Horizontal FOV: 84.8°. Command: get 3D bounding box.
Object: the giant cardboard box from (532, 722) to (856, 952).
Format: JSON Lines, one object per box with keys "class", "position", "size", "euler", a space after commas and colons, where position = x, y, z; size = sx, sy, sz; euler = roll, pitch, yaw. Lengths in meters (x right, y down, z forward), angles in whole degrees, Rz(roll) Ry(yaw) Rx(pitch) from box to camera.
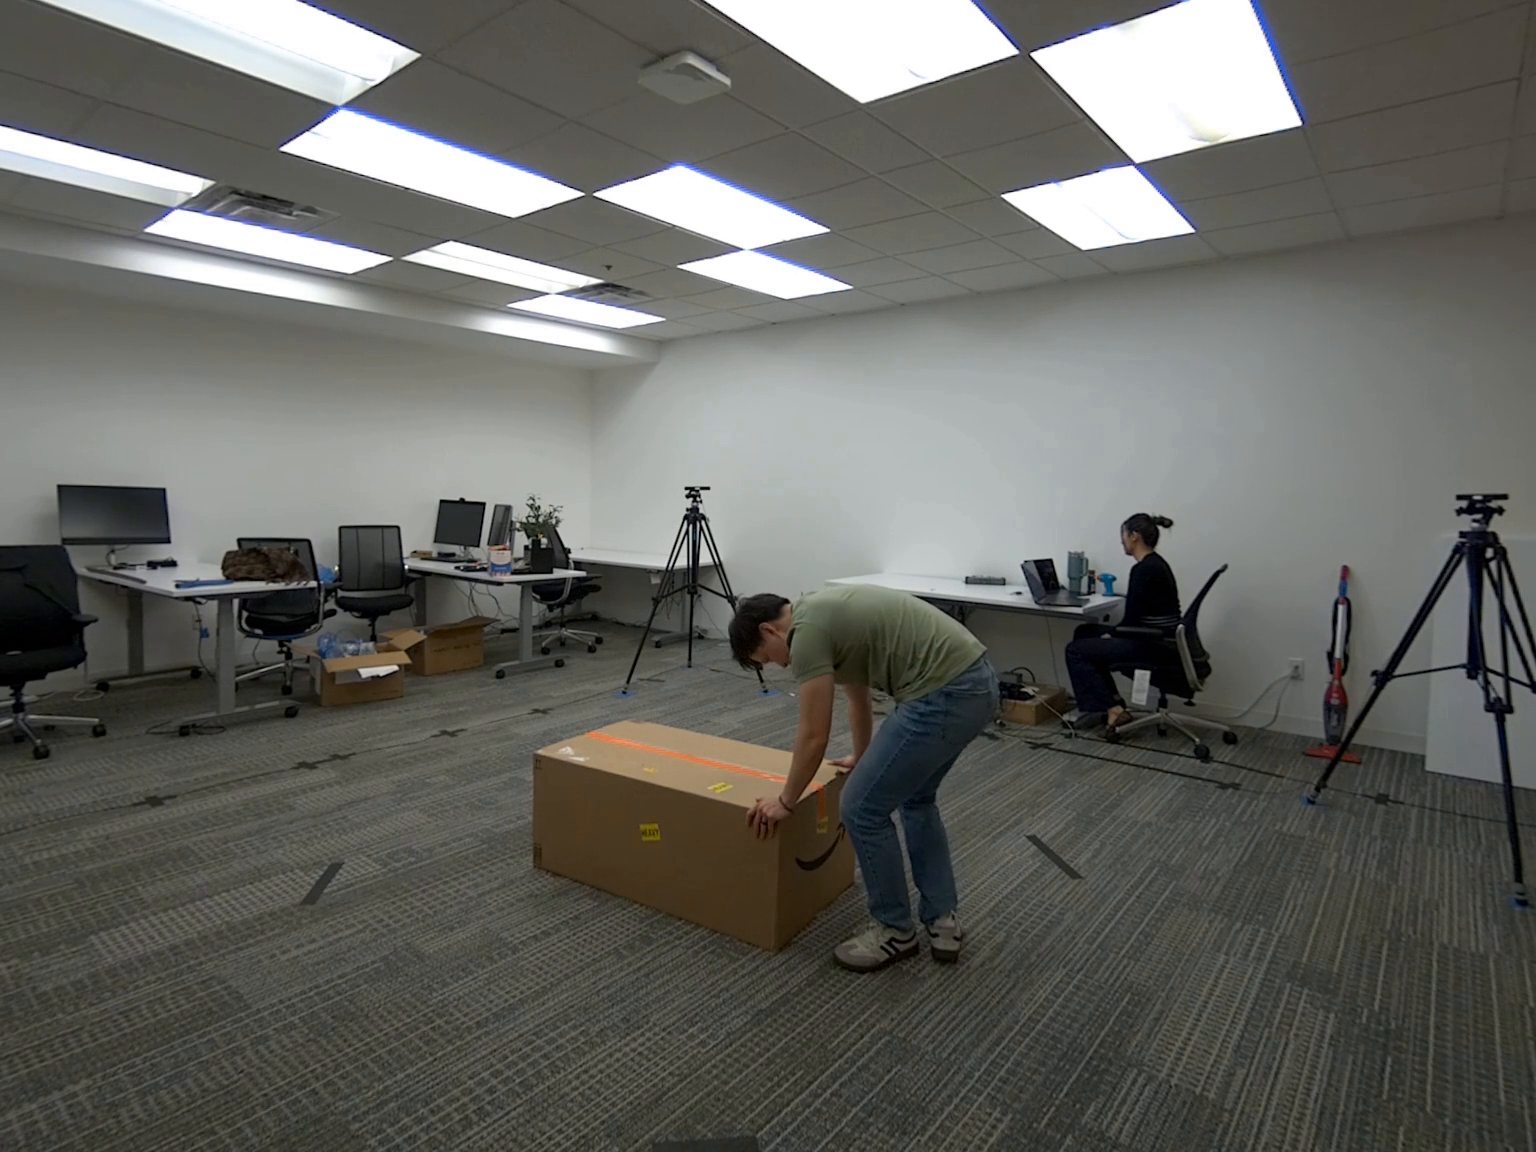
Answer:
{"class": "giant cardboard box", "position": [-0.284, 0.858, 3.051], "size": [1.057, 0.424, 0.563], "euler": [5, 6, 32]}
